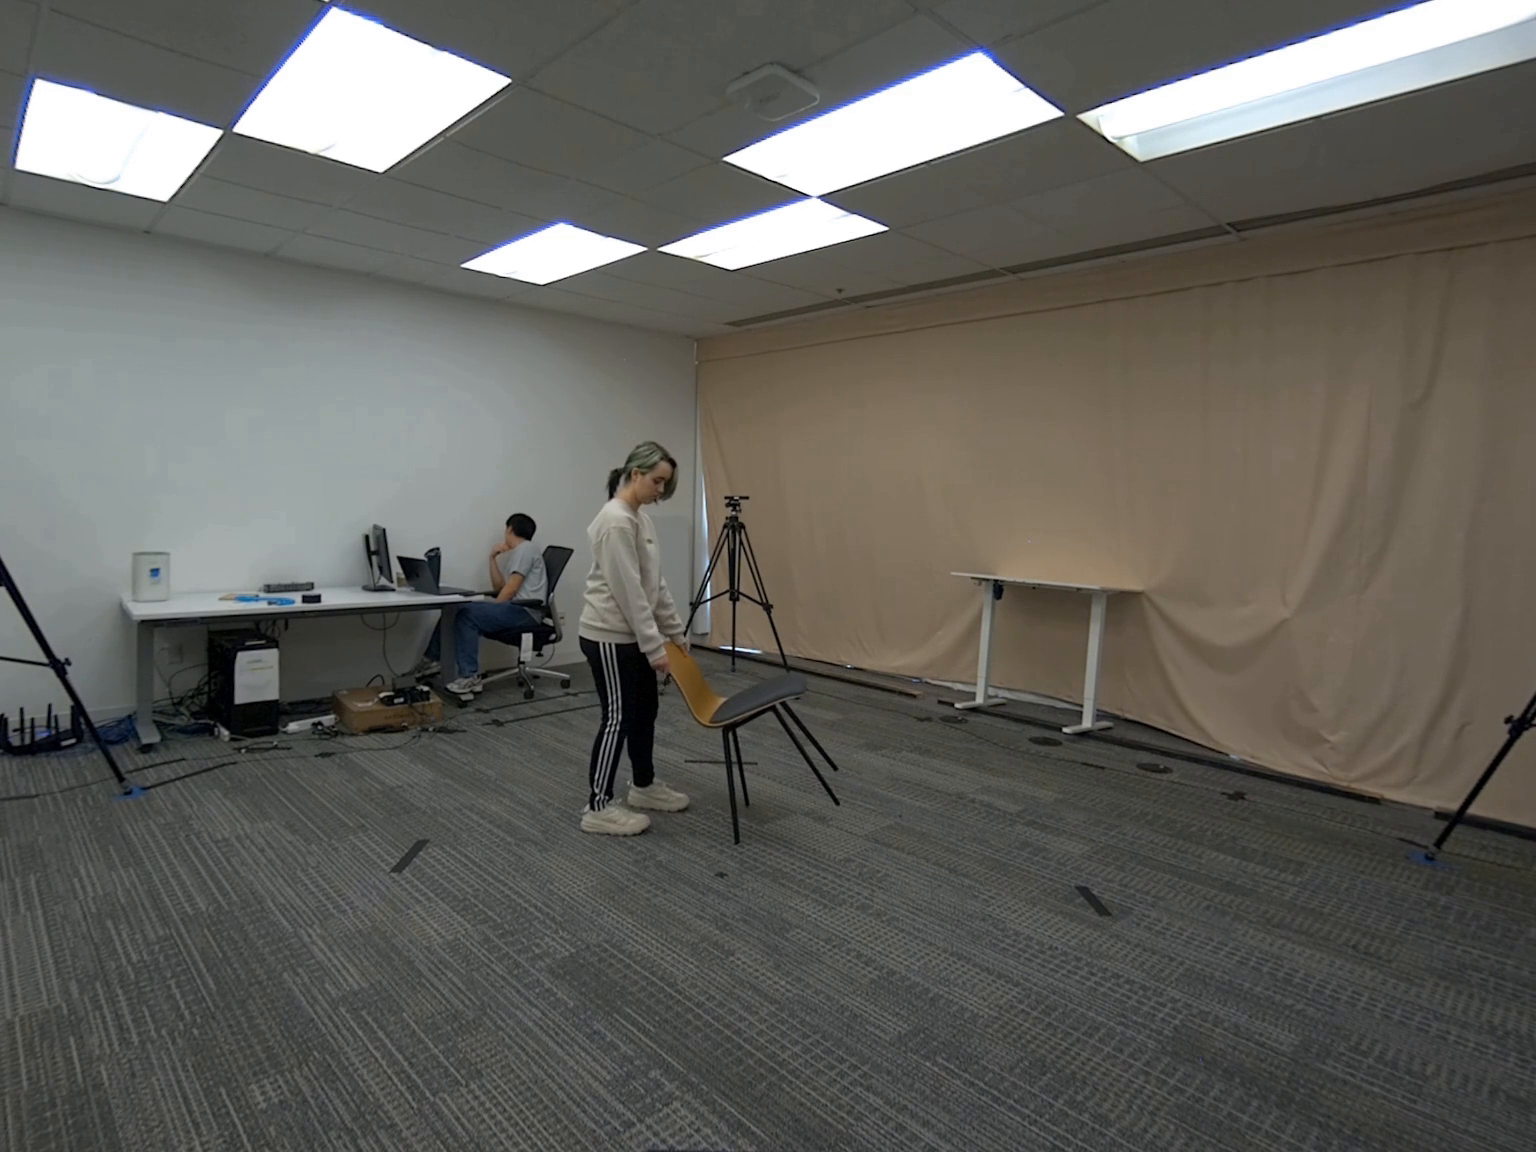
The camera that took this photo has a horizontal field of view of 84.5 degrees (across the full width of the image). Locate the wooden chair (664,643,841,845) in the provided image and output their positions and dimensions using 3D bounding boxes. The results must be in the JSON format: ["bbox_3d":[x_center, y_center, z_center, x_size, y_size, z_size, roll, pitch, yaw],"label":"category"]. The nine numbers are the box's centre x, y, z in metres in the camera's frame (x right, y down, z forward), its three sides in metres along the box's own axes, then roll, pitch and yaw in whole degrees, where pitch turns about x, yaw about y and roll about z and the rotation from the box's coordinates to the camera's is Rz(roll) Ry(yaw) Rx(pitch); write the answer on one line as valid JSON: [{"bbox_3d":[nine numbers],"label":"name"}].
[{"bbox_3d":[-0.075,0.581,3.564,0.524,0.878,0.477,-28,0,6],"label":"wooden chair"}]
